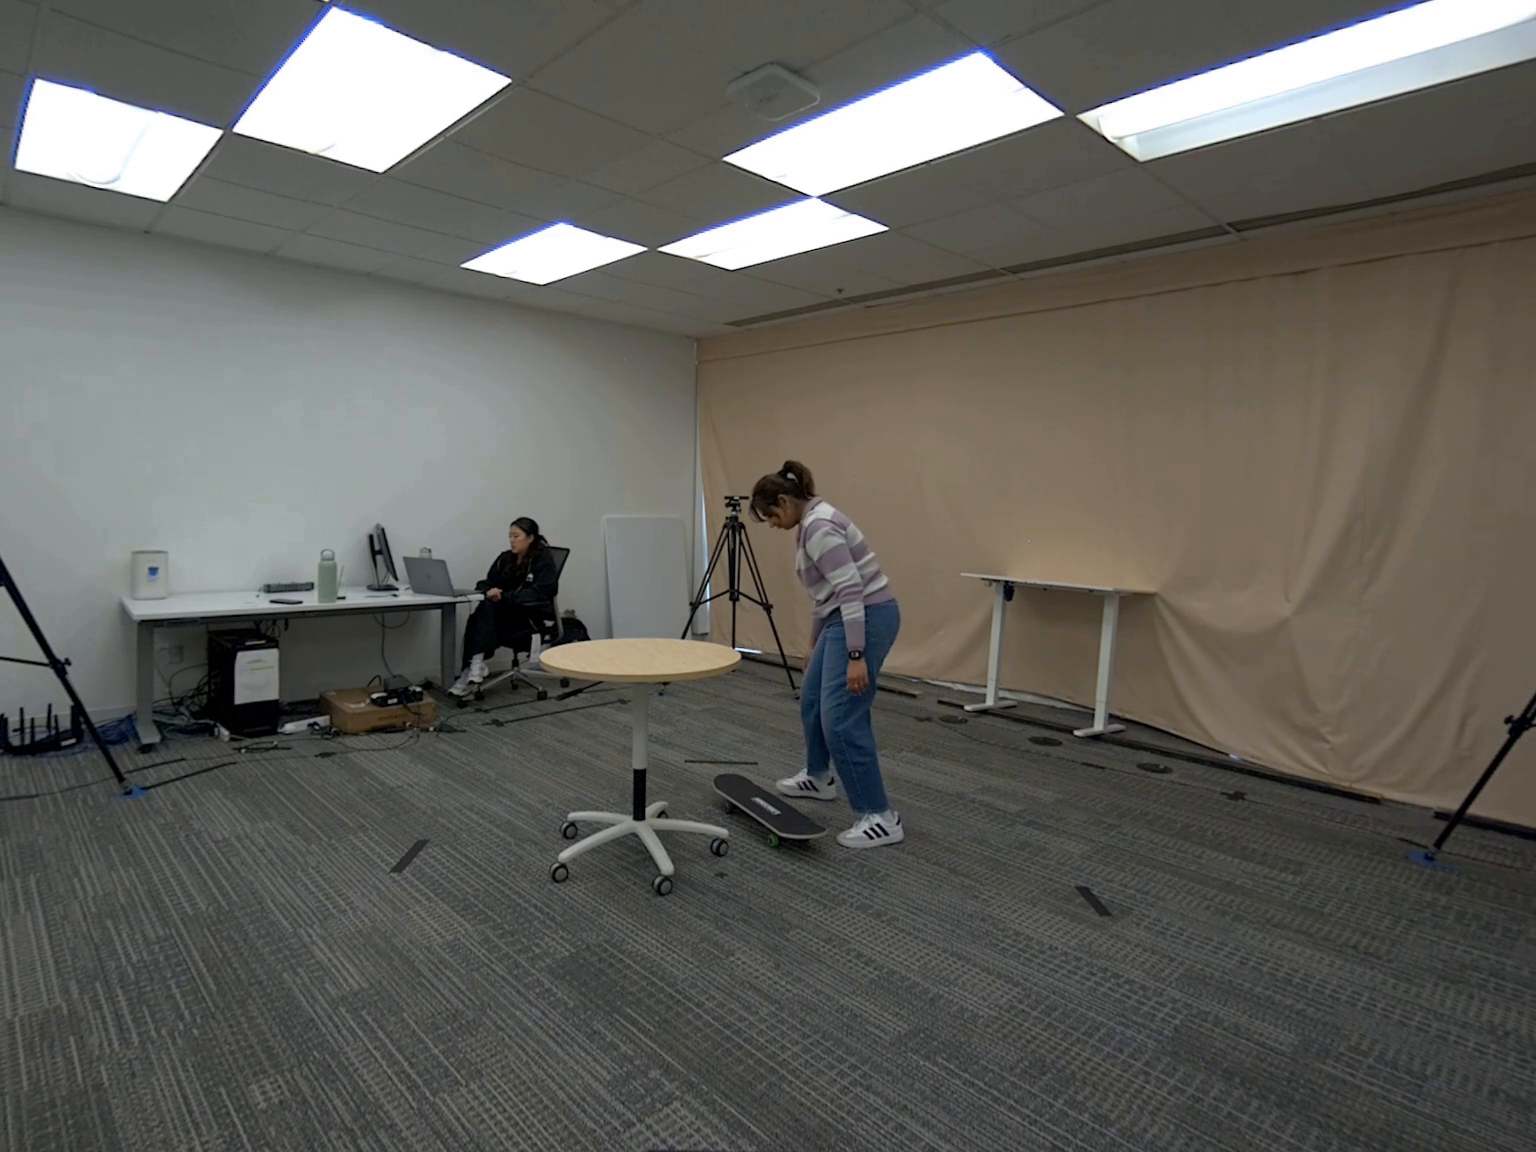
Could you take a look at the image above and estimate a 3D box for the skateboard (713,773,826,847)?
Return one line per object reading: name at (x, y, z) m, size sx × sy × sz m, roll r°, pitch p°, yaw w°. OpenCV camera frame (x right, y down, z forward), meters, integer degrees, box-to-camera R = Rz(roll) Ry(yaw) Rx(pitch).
skateboard at (-0.022, 1.012, 3.585) m, size 0.190 × 0.110 × 0.802 m, roll -1°, pitch 5°, yaw -28°
